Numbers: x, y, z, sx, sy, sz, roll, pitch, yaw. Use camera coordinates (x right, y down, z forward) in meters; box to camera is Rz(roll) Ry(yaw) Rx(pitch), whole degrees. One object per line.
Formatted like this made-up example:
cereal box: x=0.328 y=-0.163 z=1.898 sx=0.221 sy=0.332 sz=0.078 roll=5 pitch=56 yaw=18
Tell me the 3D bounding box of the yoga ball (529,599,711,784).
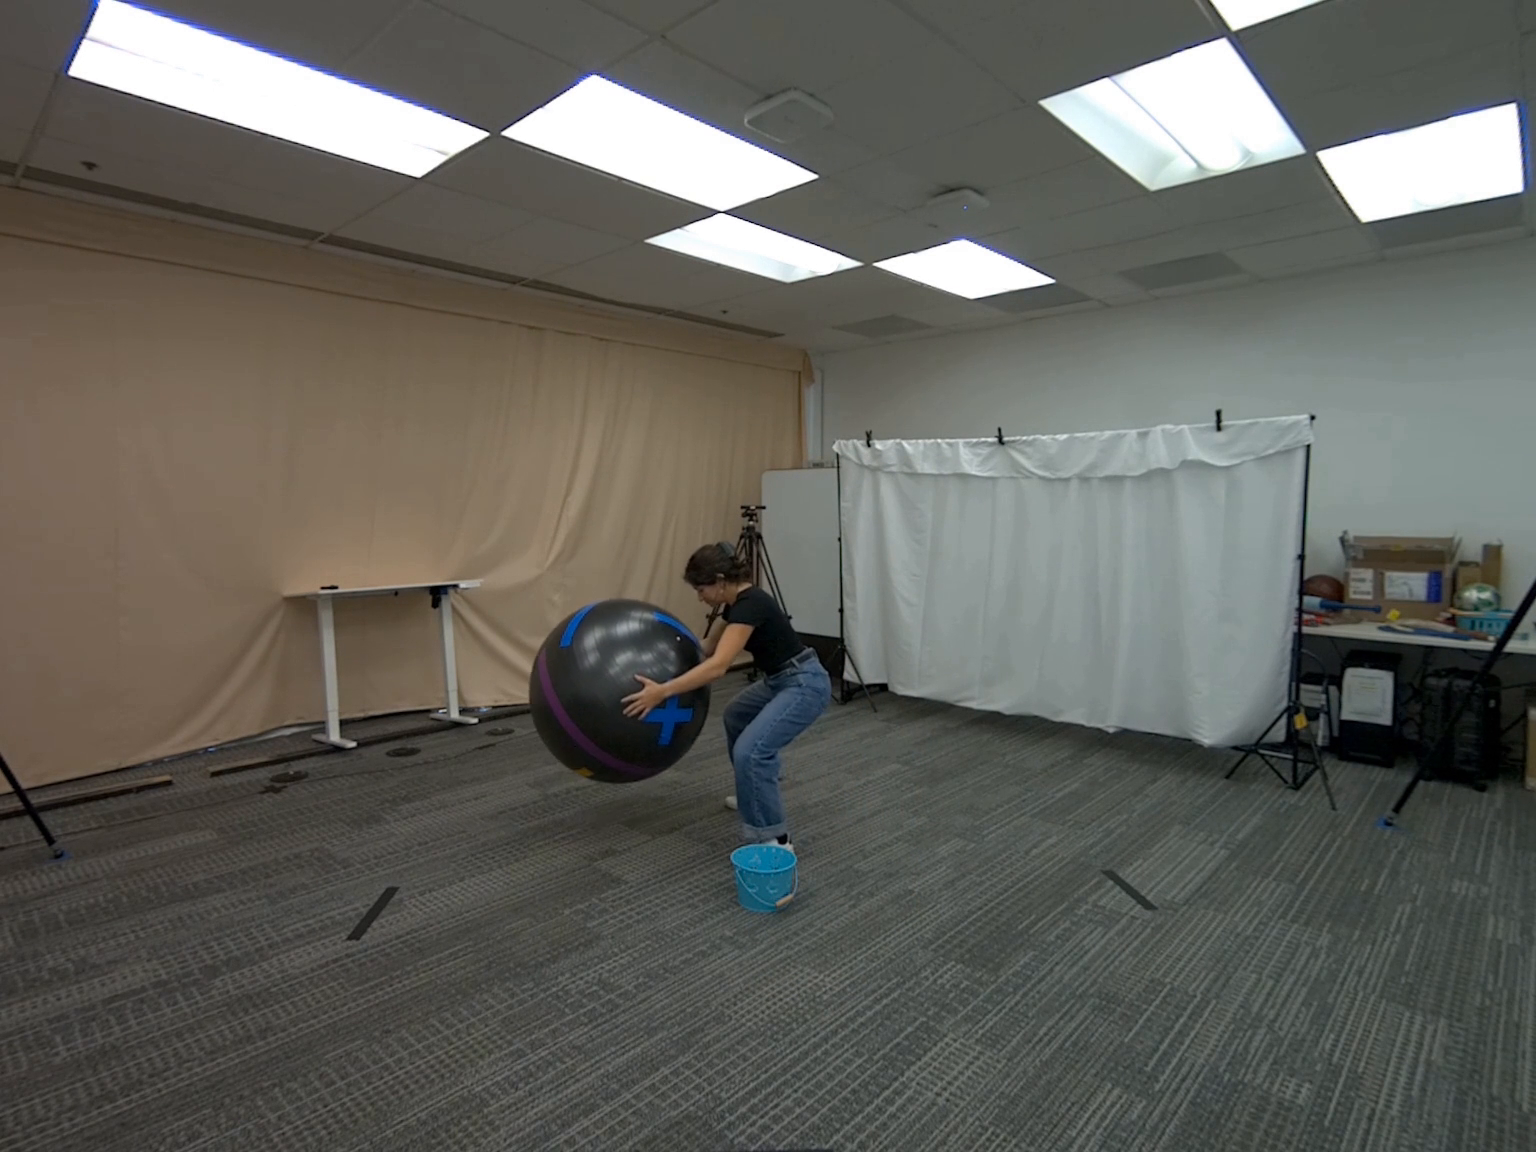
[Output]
yoga ball: x=-0.612 y=0.476 z=3.540 sx=0.757 sy=0.756 sz=0.760 roll=0 pitch=4 yaw=-2
